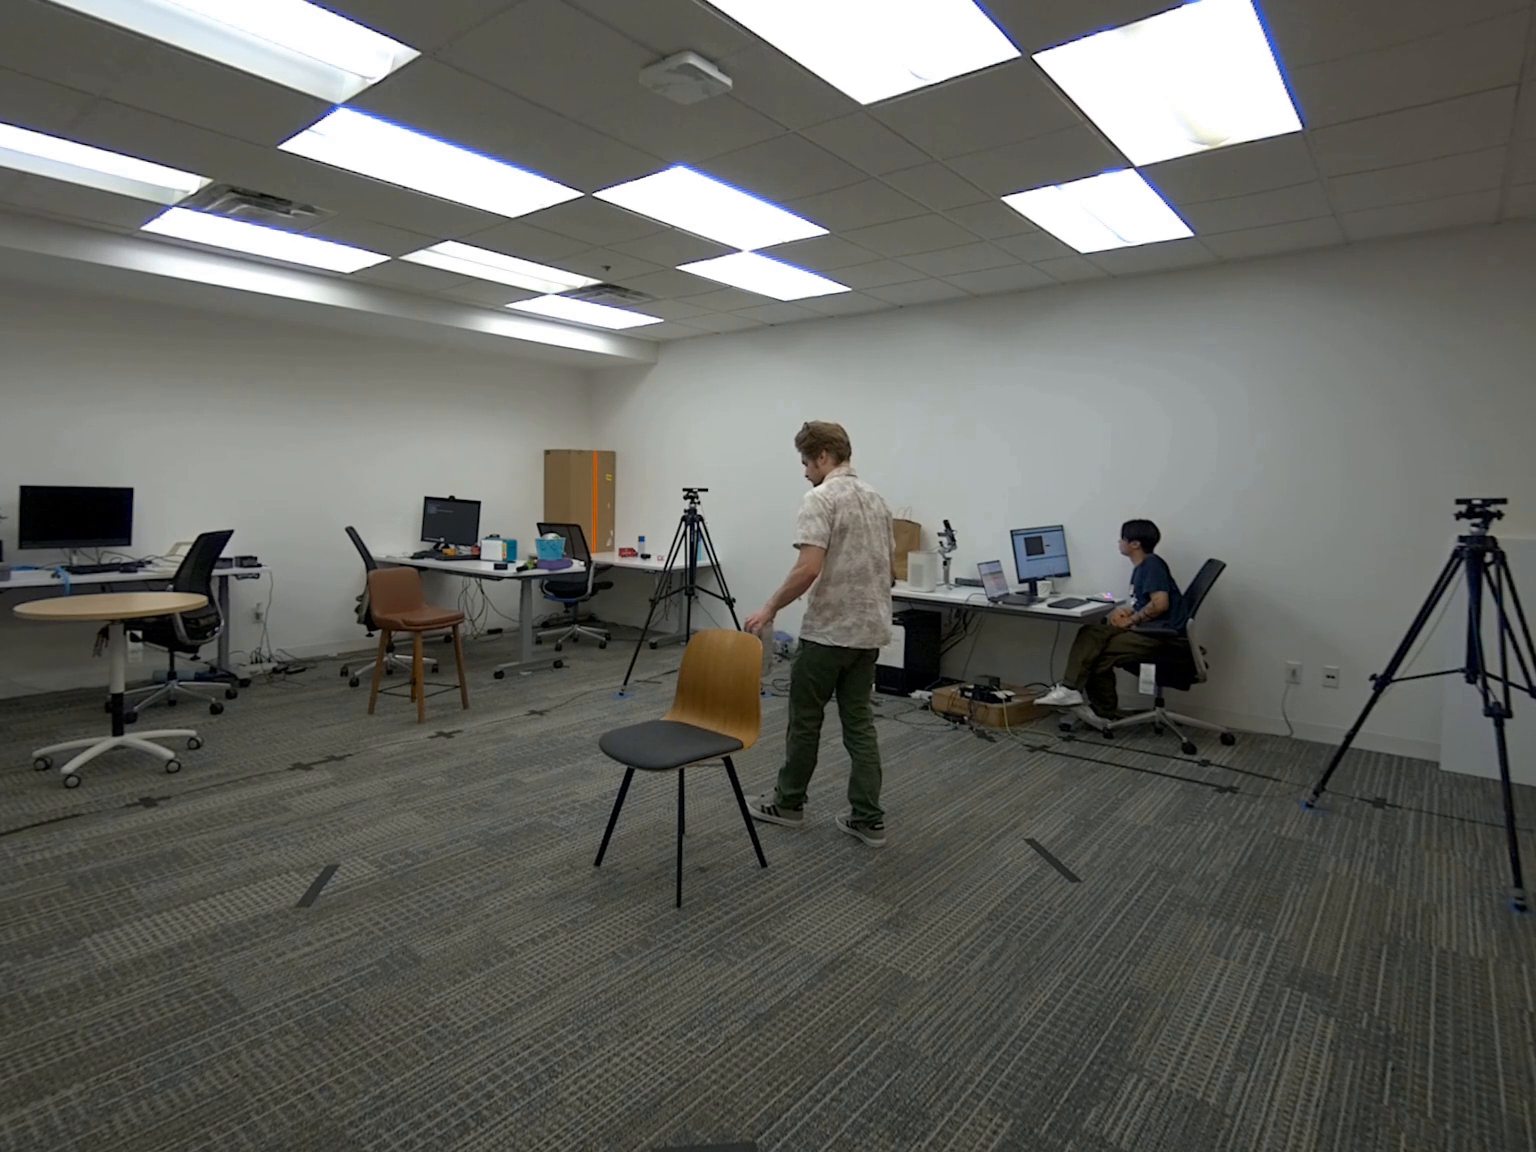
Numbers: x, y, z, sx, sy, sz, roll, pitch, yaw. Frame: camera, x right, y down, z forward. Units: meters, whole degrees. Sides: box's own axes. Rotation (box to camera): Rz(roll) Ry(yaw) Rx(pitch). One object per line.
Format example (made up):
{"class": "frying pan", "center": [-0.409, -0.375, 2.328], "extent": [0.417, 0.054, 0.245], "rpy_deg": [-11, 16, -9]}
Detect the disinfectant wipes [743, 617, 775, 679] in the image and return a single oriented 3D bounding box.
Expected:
{"class": "disinfectant wipes", "center": [-0.040, 0.293, 3.451], "extent": [0.118, 0.214, 0.119], "rpy_deg": [0, 15, -2]}
